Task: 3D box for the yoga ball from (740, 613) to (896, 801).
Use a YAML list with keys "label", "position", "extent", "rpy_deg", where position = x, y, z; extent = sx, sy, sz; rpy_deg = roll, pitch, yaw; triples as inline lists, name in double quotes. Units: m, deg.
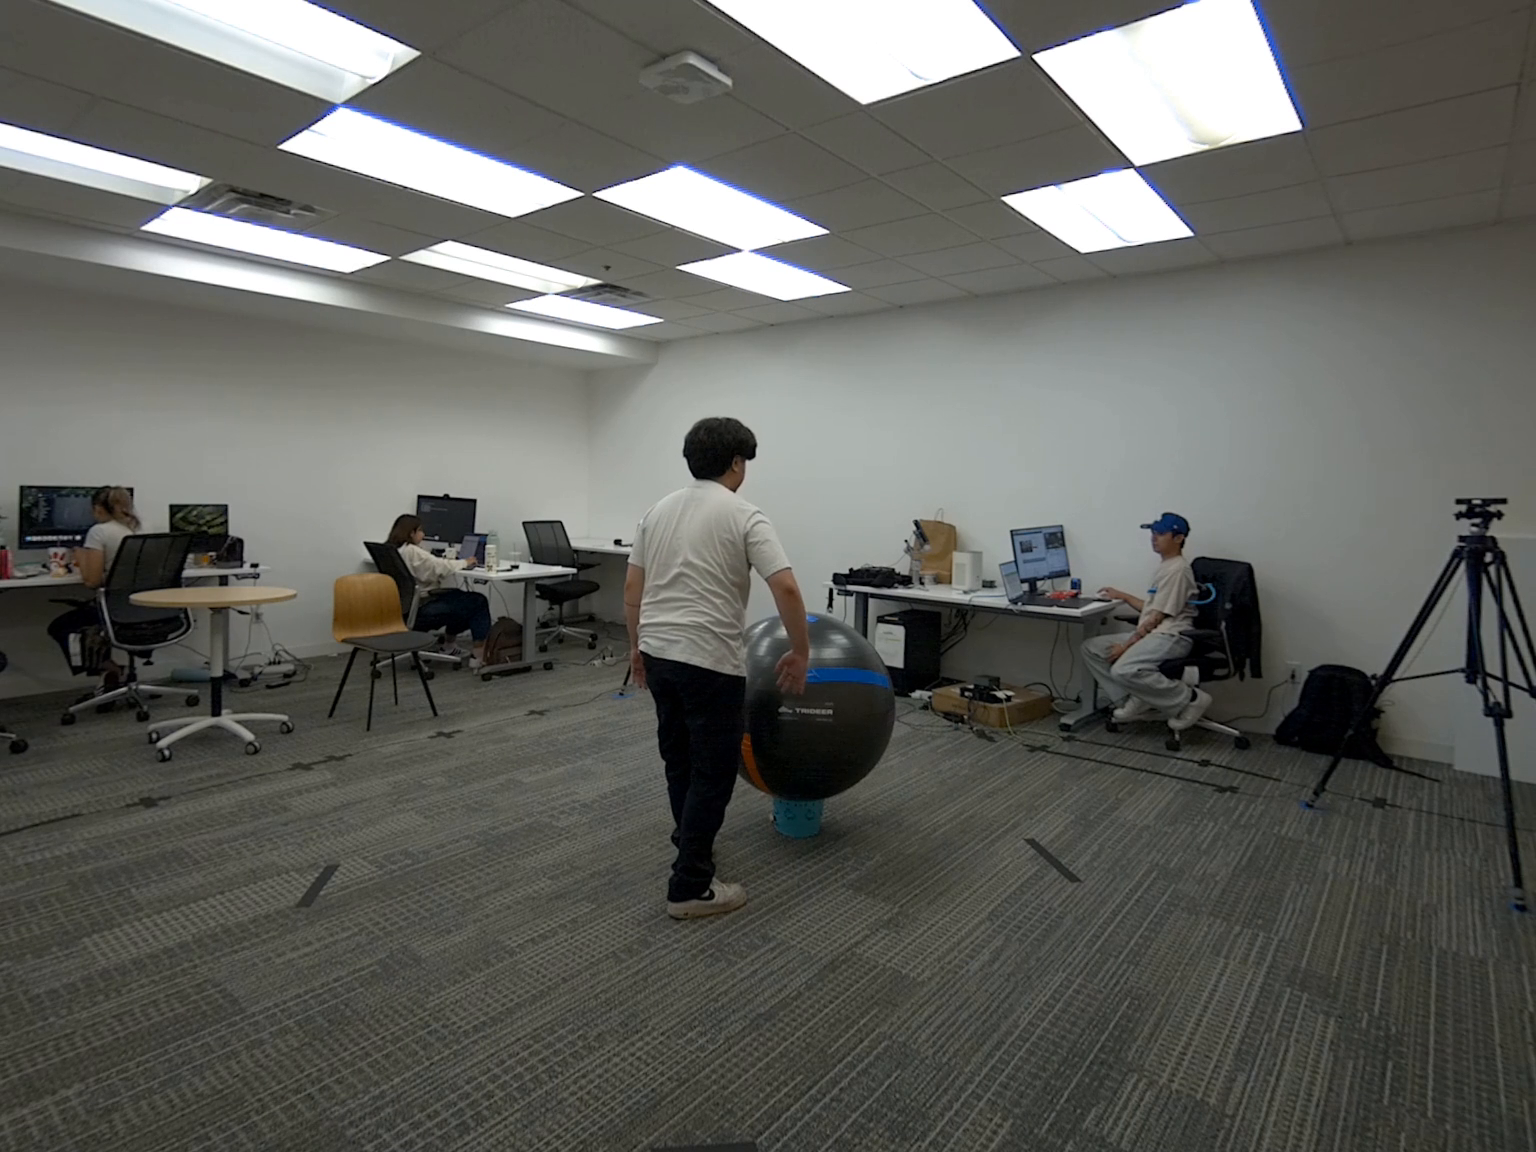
- label: "yoga ball"
  position: [0.132, 0.528, 3.491]
  extent: [0.757, 0.755, 0.762]
  rpy_deg: [1, 4, -2]
